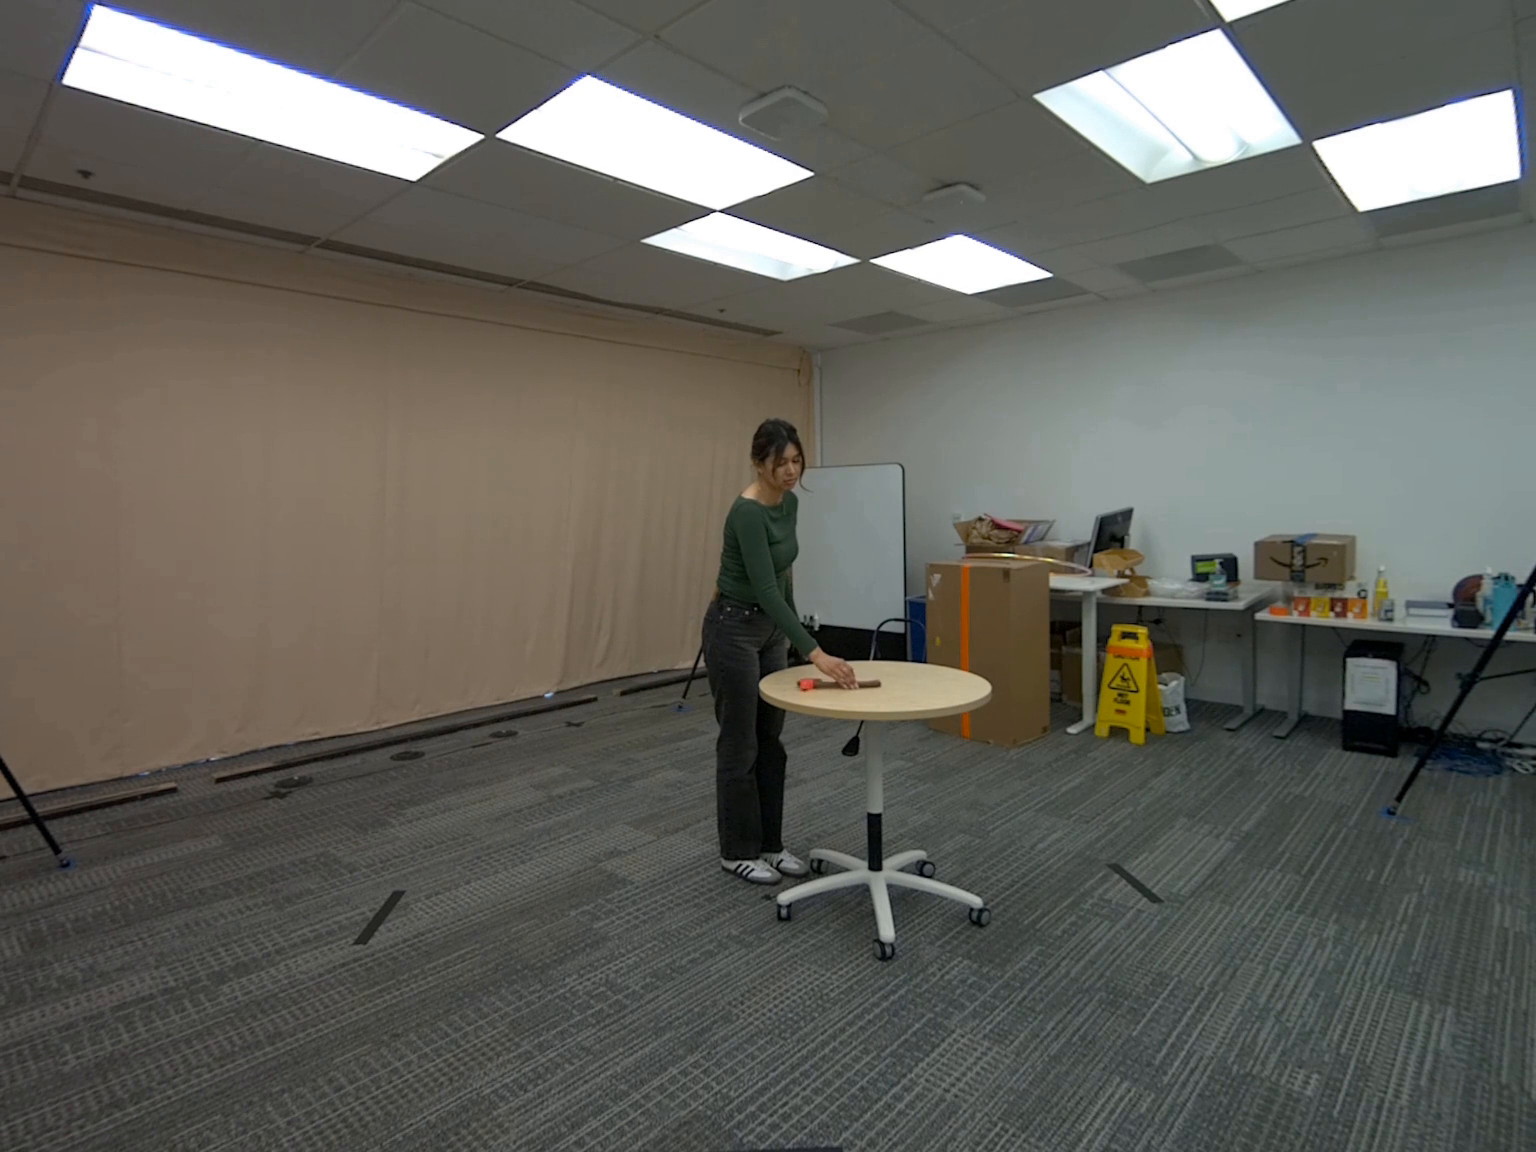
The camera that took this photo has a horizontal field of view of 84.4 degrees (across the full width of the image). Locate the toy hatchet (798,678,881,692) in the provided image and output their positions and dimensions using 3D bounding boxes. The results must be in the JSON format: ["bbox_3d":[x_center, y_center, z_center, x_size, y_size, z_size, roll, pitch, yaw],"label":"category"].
[{"bbox_3d":[0.236,0.359,2.807,0.267,0.029,0.132,0,3,-10],"label":"toy hatchet"}]
